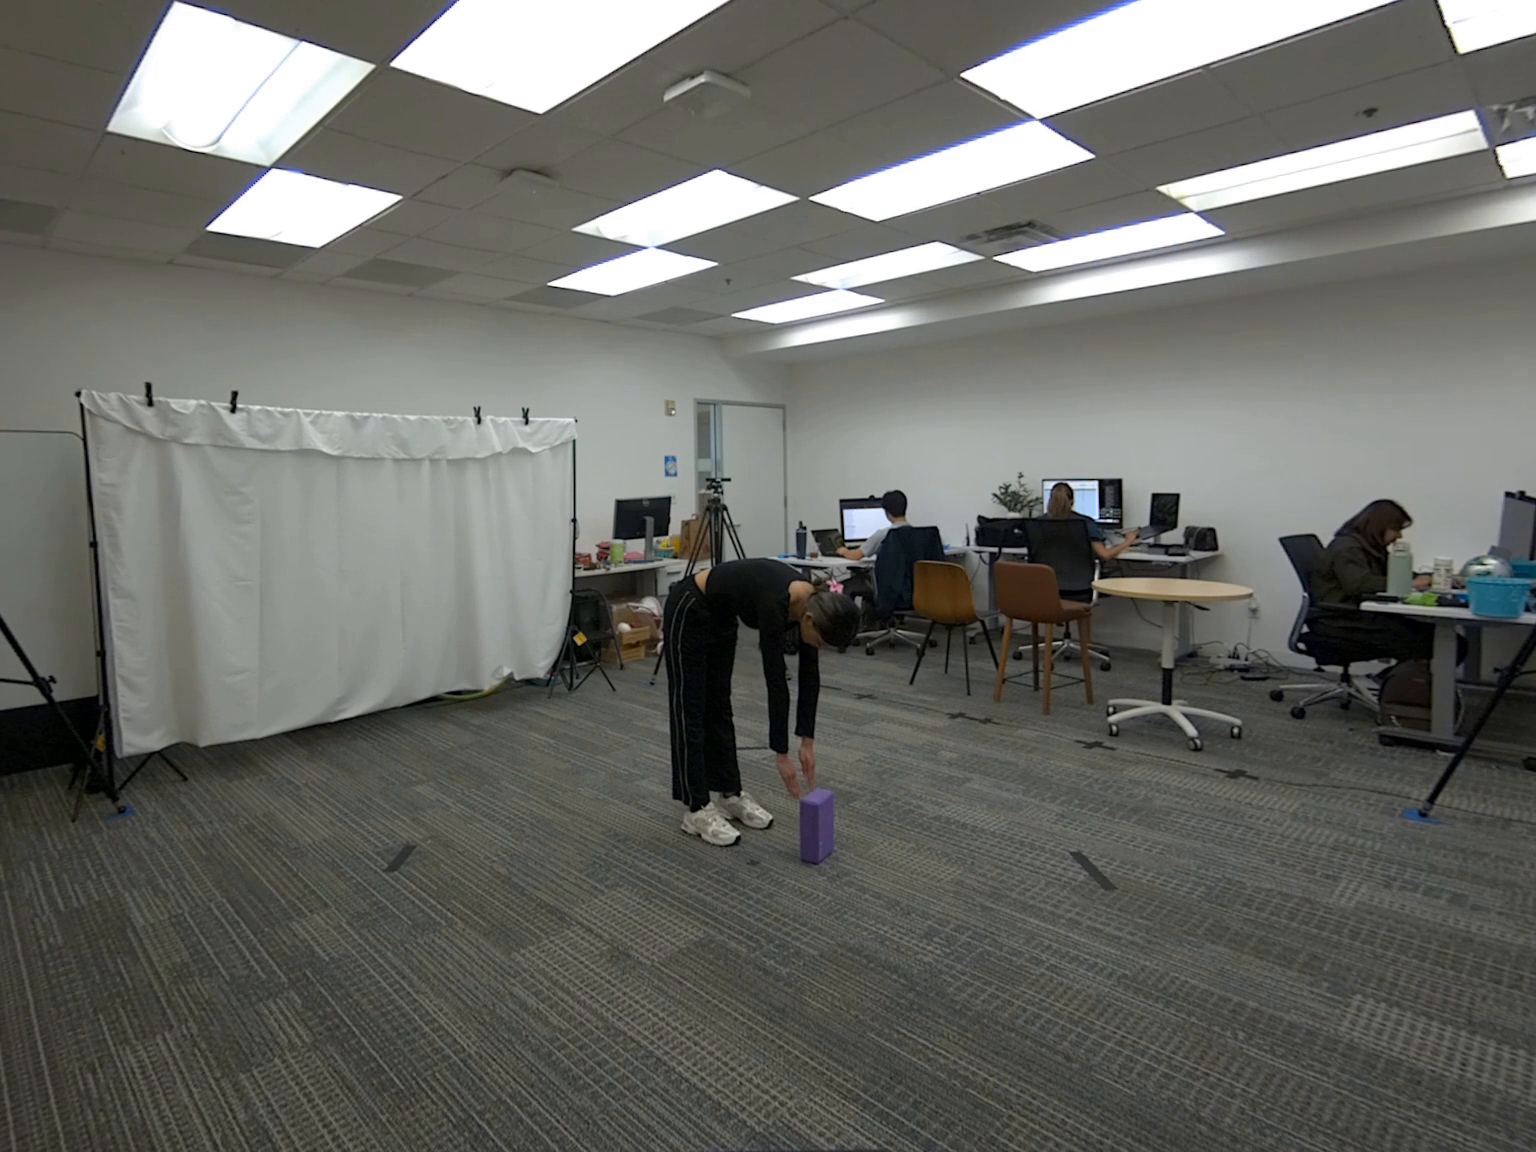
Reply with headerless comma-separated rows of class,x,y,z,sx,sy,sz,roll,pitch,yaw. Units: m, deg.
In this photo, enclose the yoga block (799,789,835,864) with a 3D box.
yoga block,0.182,0.919,3.149,0.078,0.229,0.146,0,3,28
